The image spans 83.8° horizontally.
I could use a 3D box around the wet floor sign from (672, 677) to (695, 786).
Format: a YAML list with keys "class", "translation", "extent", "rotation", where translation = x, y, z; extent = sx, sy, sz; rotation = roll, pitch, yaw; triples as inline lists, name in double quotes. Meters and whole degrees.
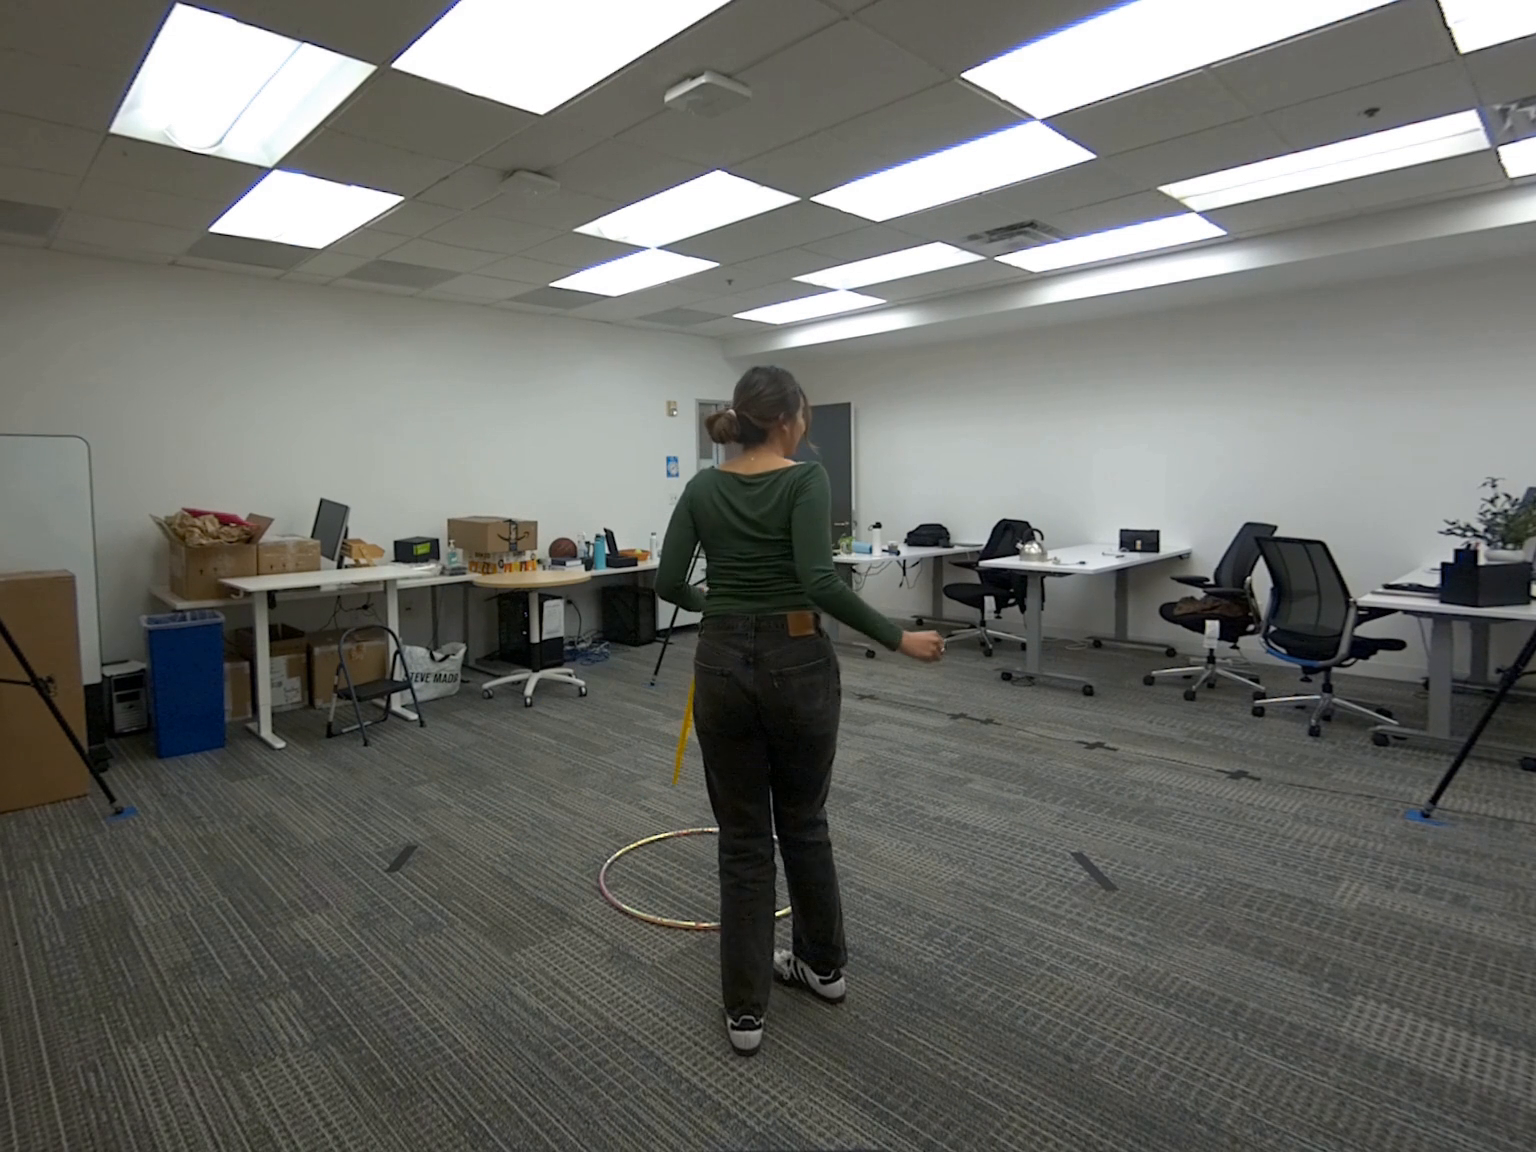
- class: "wet floor sign"
  translation: [-0.141, 0.334, 2.625]
  extent: [0.292, 0.630, 0.287]
  rotation: [2, 31, 6]
